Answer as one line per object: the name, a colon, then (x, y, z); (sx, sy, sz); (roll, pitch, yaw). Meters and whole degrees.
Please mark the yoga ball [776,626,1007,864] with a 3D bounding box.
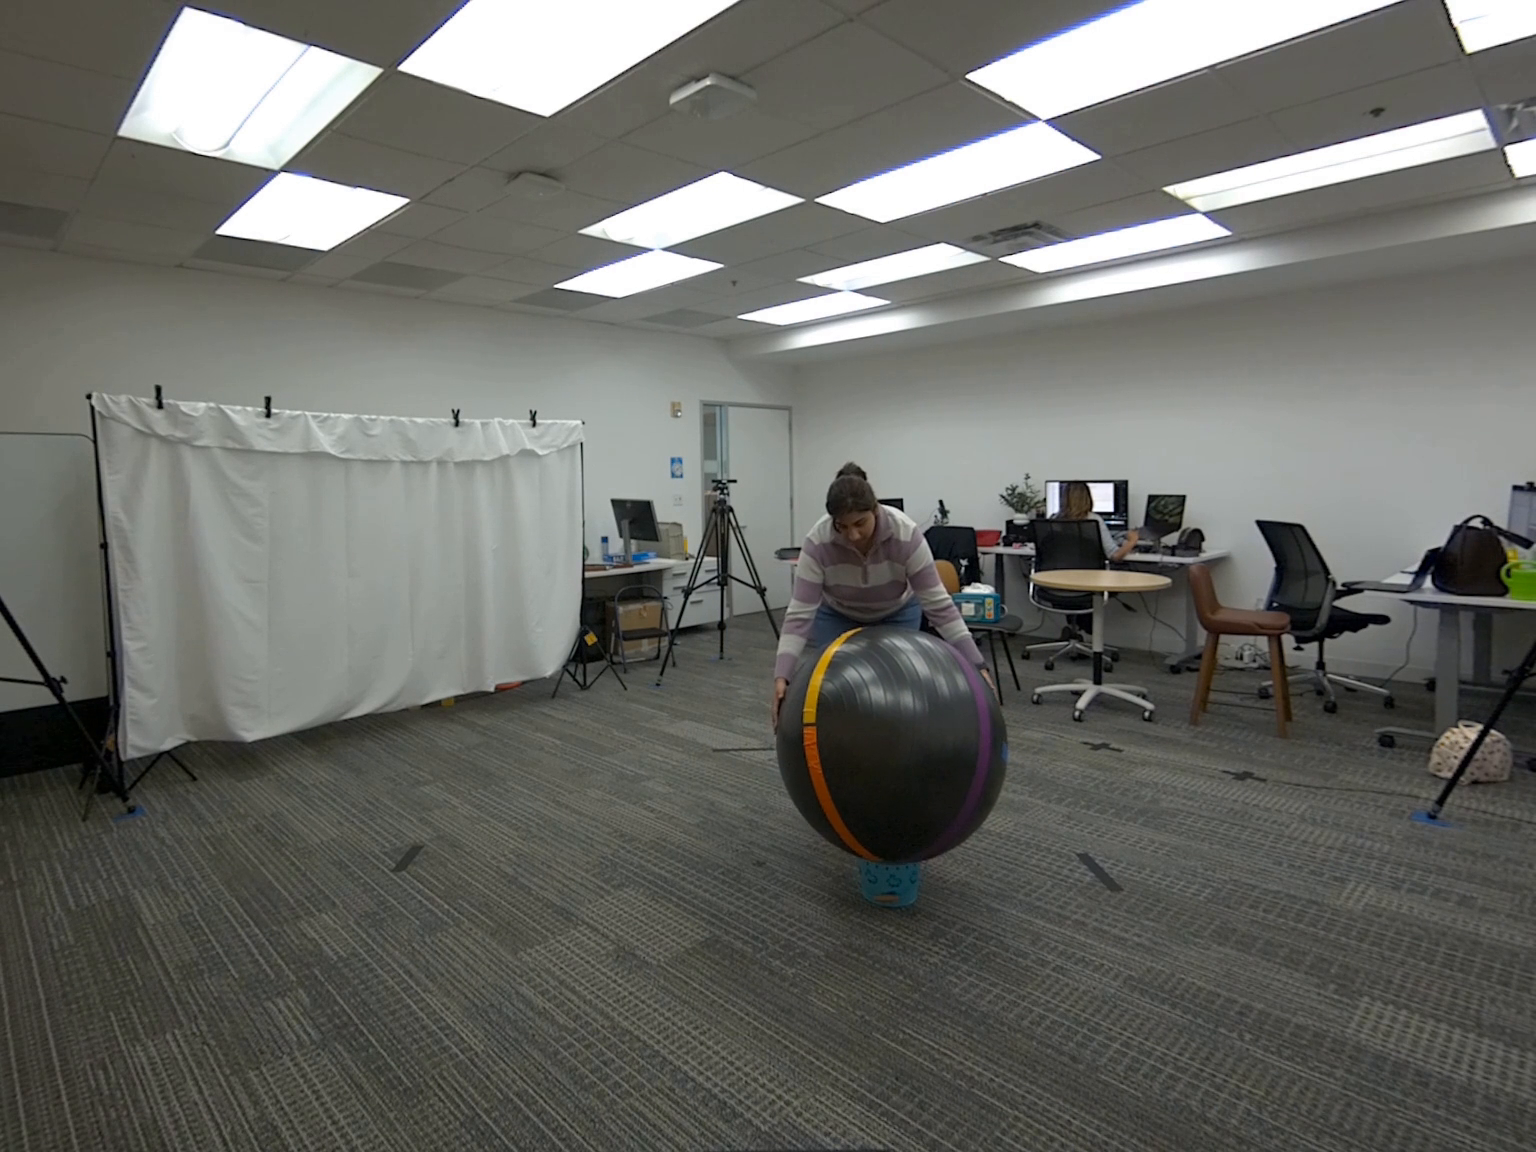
yoga ball: (0.406, 0.547, 2.841); (0.757, 0.755, 0.762); (-1, 5, -2)
